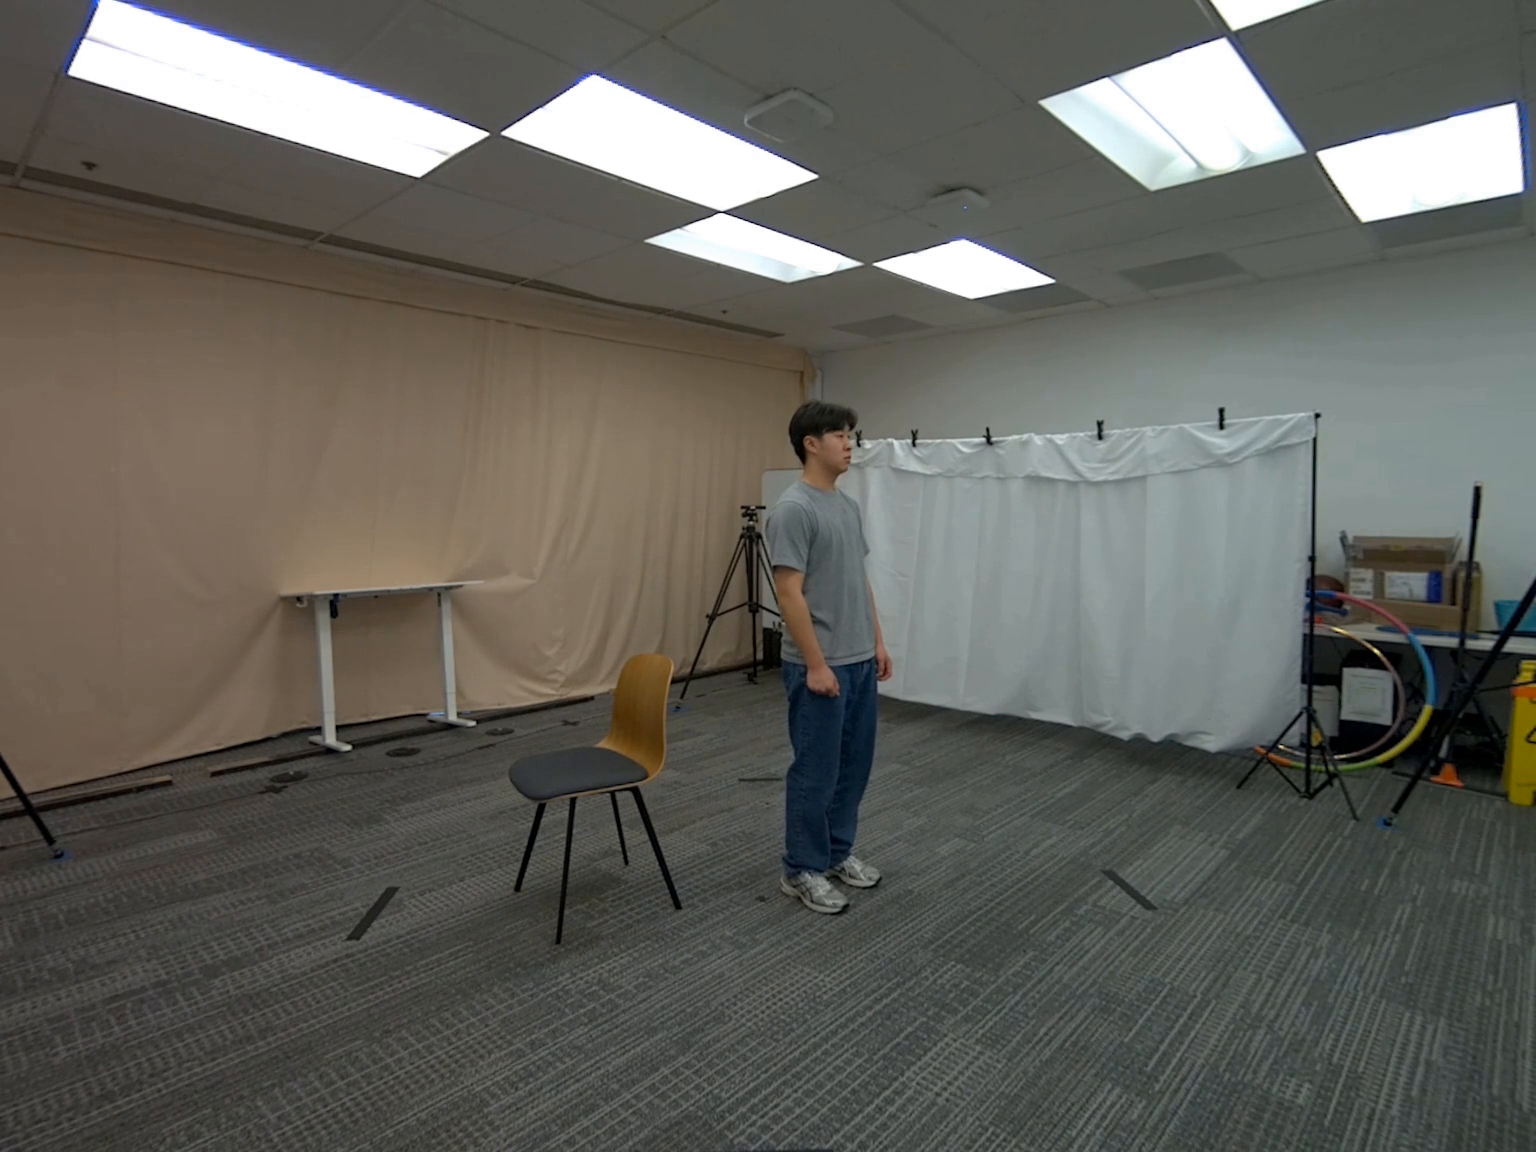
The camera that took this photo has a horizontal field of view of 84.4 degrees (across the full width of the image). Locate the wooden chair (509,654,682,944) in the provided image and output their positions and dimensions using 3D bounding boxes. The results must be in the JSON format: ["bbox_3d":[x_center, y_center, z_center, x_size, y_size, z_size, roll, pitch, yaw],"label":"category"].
[{"bbox_3d":[-0.621,0.729,2.956,0.508,0.877,0.492,2,1,-33],"label":"wooden chair"}]
